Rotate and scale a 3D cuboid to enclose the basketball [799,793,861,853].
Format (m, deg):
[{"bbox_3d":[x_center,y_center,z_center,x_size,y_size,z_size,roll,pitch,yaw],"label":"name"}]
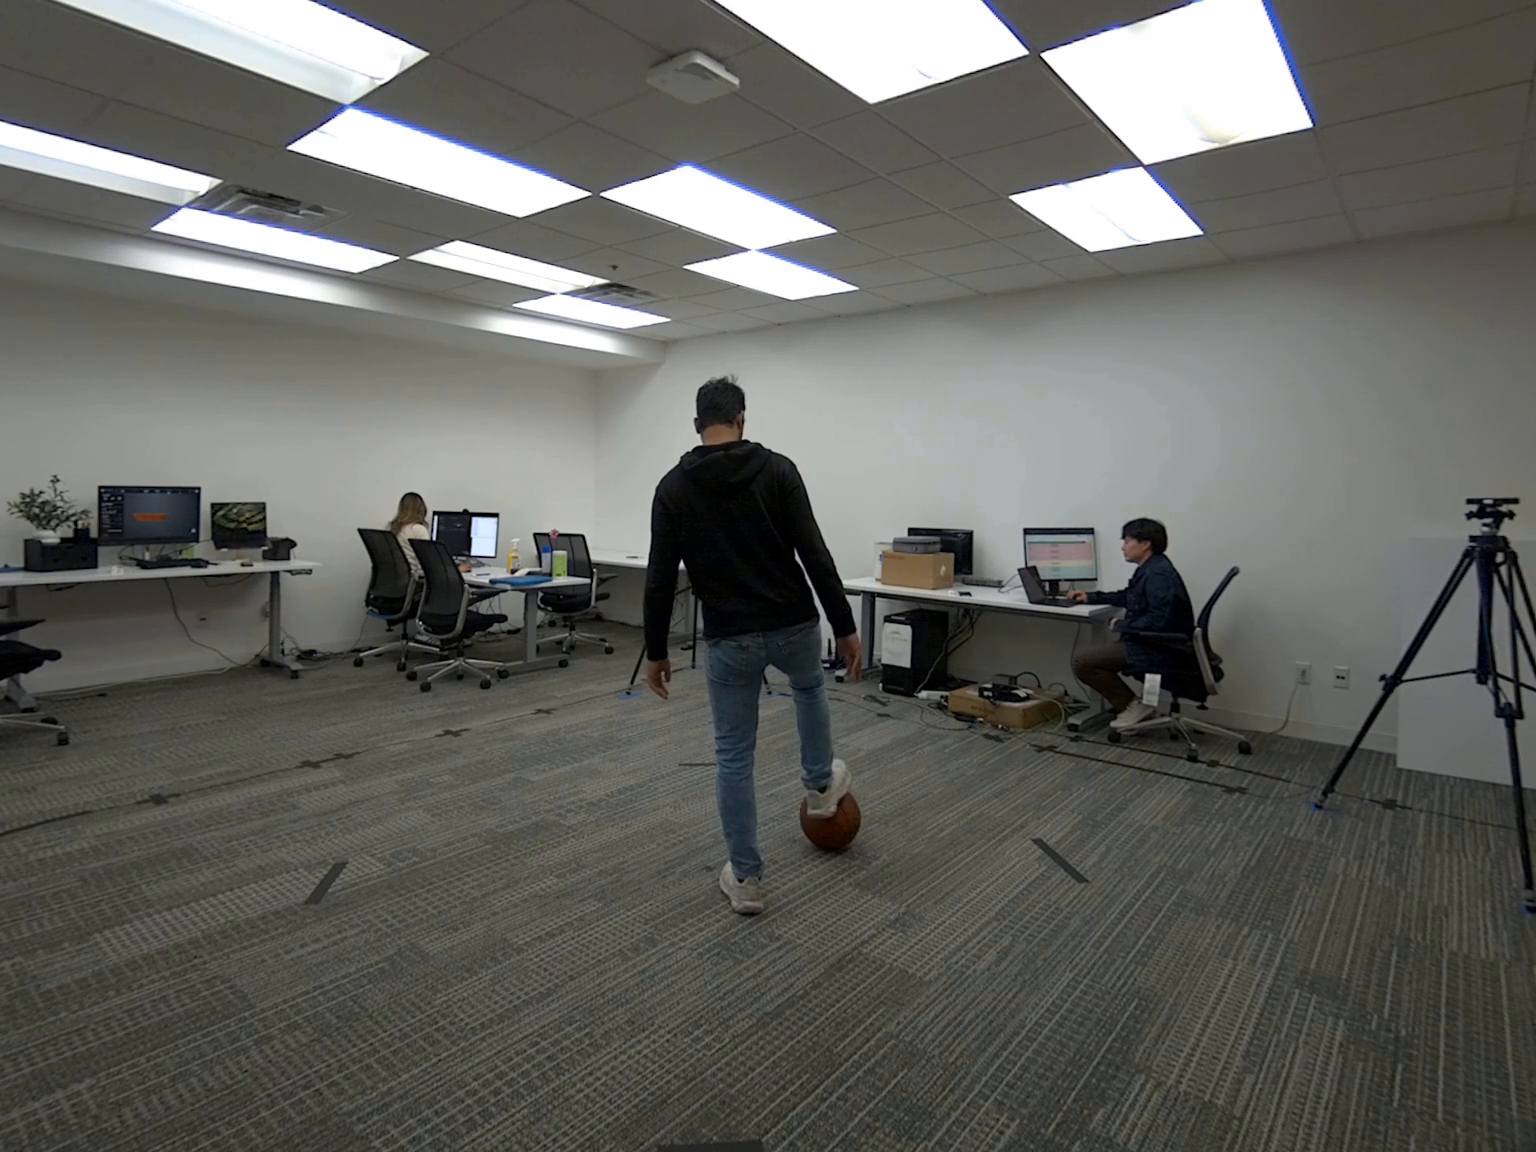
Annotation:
[{"bbox_3d":[0.236,0.934,3.326,0.235,0.235,0.237,1,4,-2],"label":"basketball"}]
